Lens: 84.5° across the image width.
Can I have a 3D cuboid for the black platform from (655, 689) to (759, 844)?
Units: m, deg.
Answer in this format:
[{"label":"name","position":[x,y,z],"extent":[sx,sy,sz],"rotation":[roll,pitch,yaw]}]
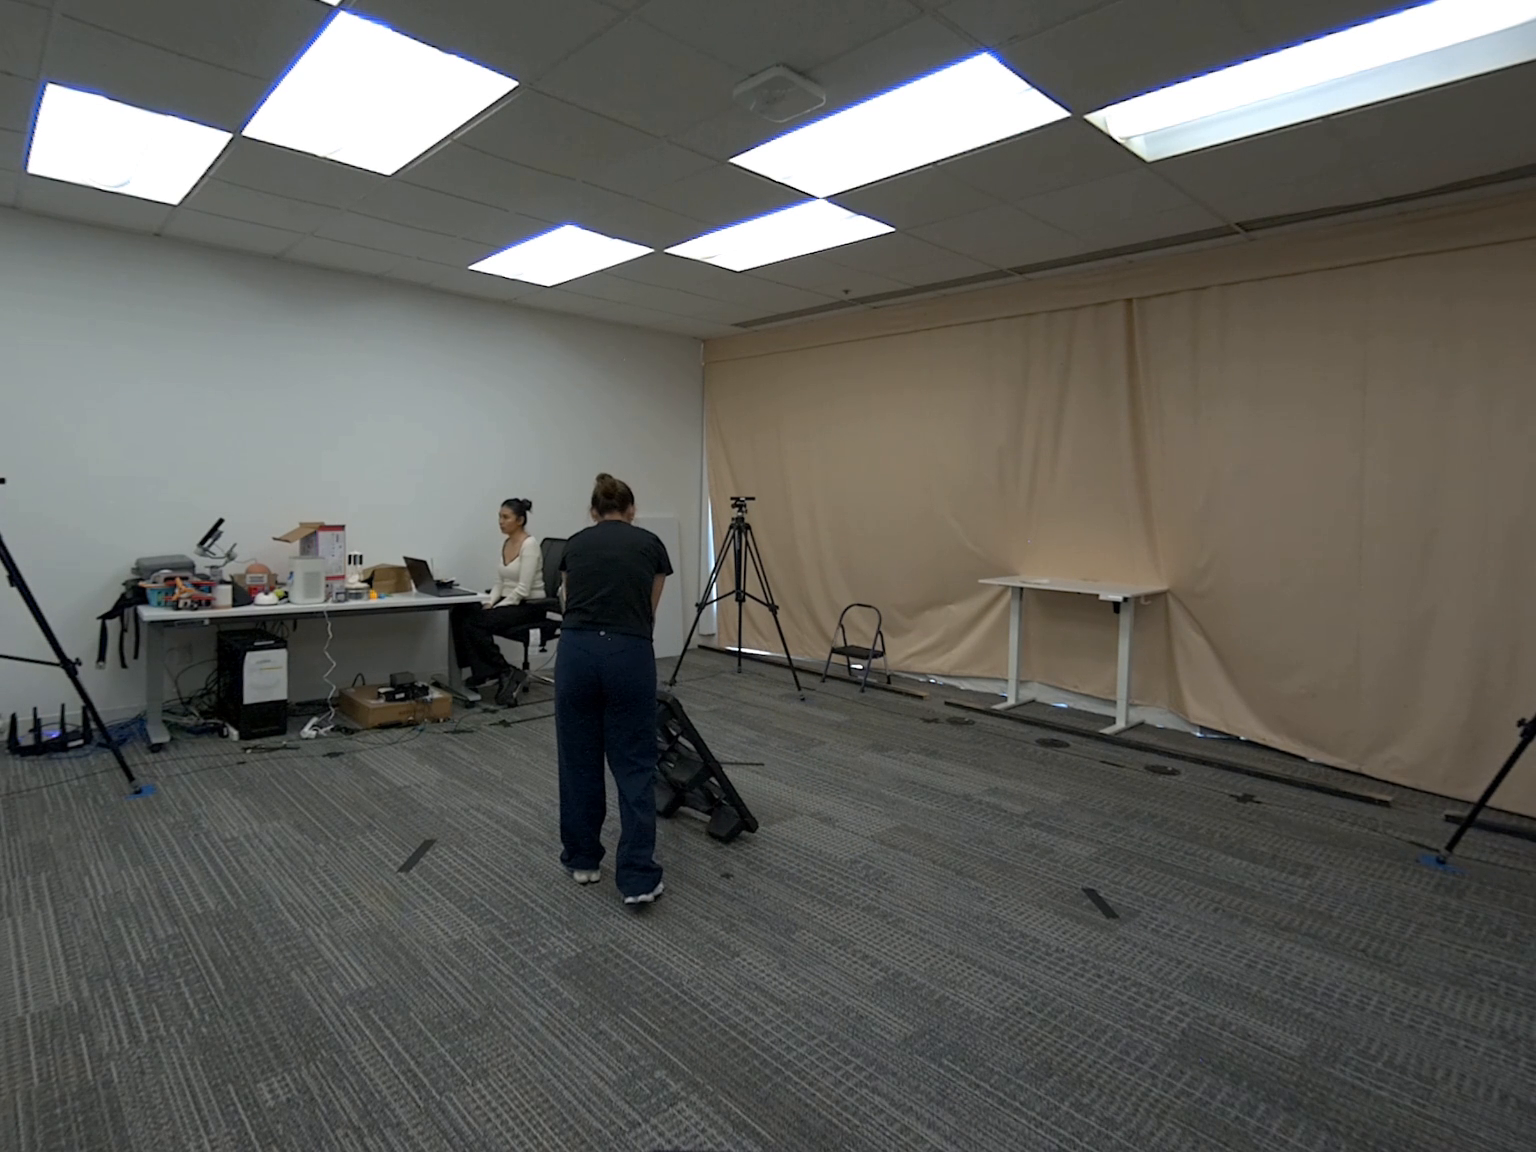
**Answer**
[{"label":"black platform","position":[-0.445,0.745,3.396],"extent":[0.621,0.785,0.143],"rotation":[6,43,43]}]
